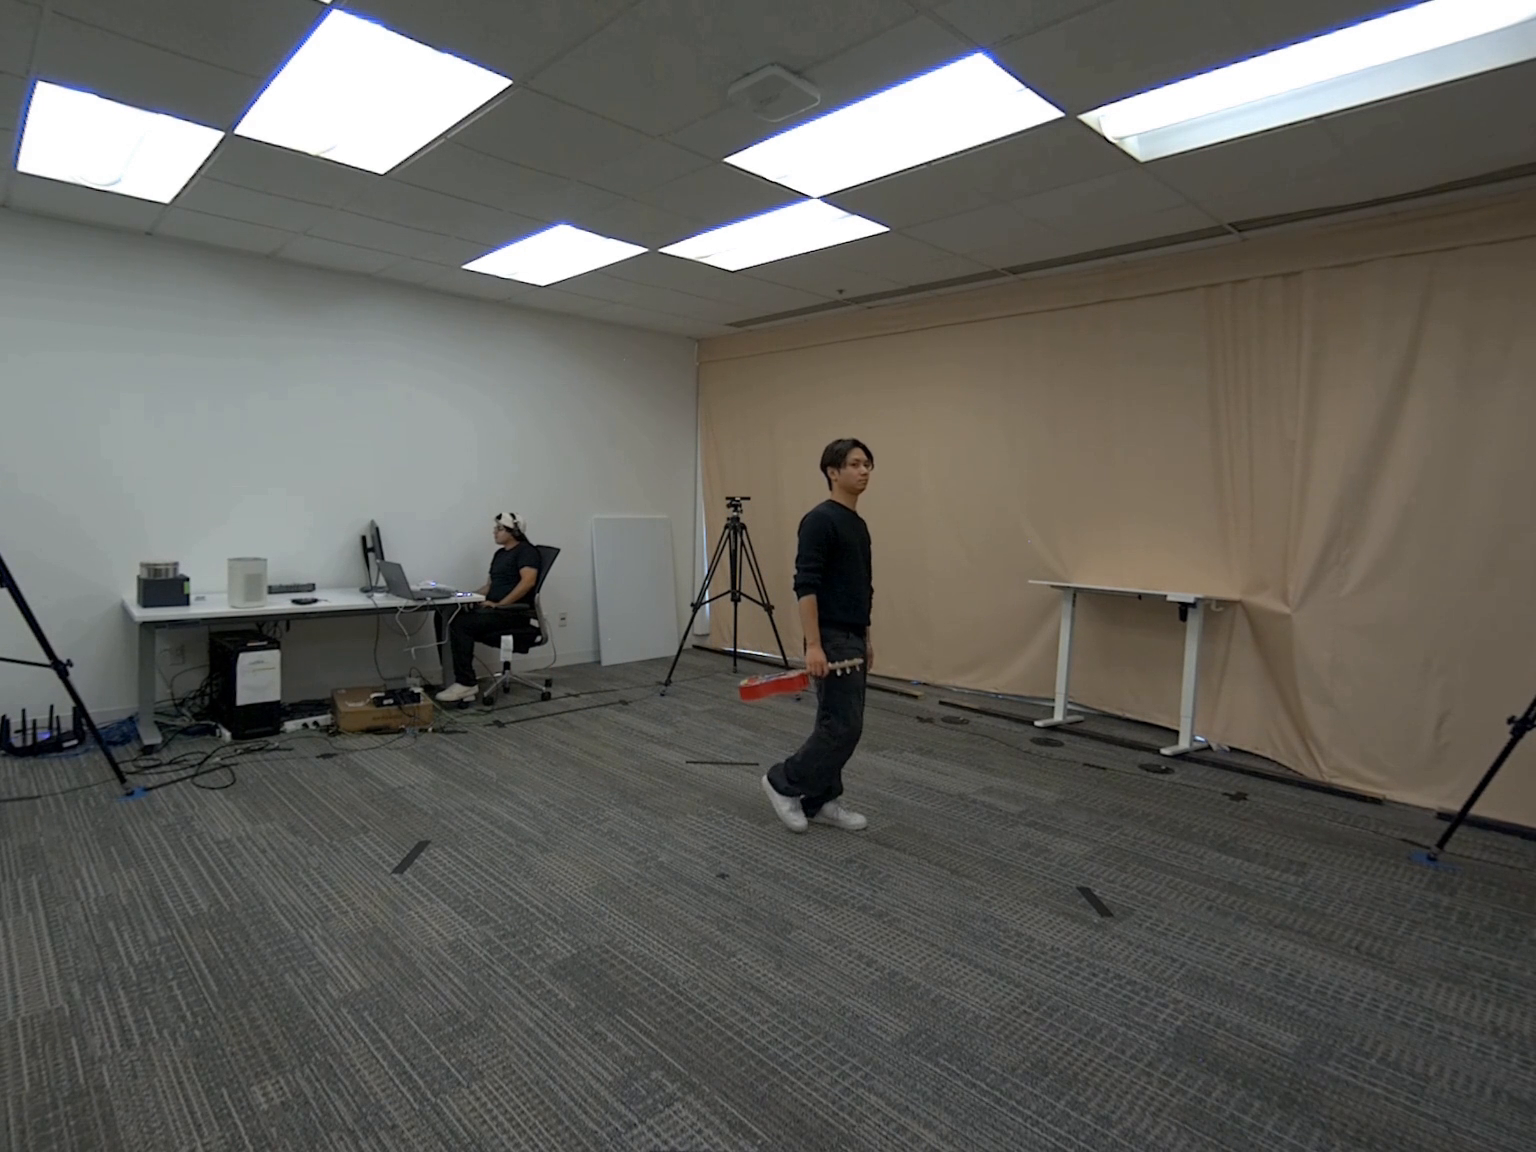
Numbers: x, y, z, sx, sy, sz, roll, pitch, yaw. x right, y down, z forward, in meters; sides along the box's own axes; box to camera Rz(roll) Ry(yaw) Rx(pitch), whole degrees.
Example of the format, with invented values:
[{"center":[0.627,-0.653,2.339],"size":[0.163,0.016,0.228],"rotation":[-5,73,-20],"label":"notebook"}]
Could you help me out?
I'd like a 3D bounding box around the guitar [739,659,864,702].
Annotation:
[{"center":[0.116,0.406,3.285],"size":[0.503,0.070,0.191],"rotation":[-11,3,16],"label":"guitar"}]
